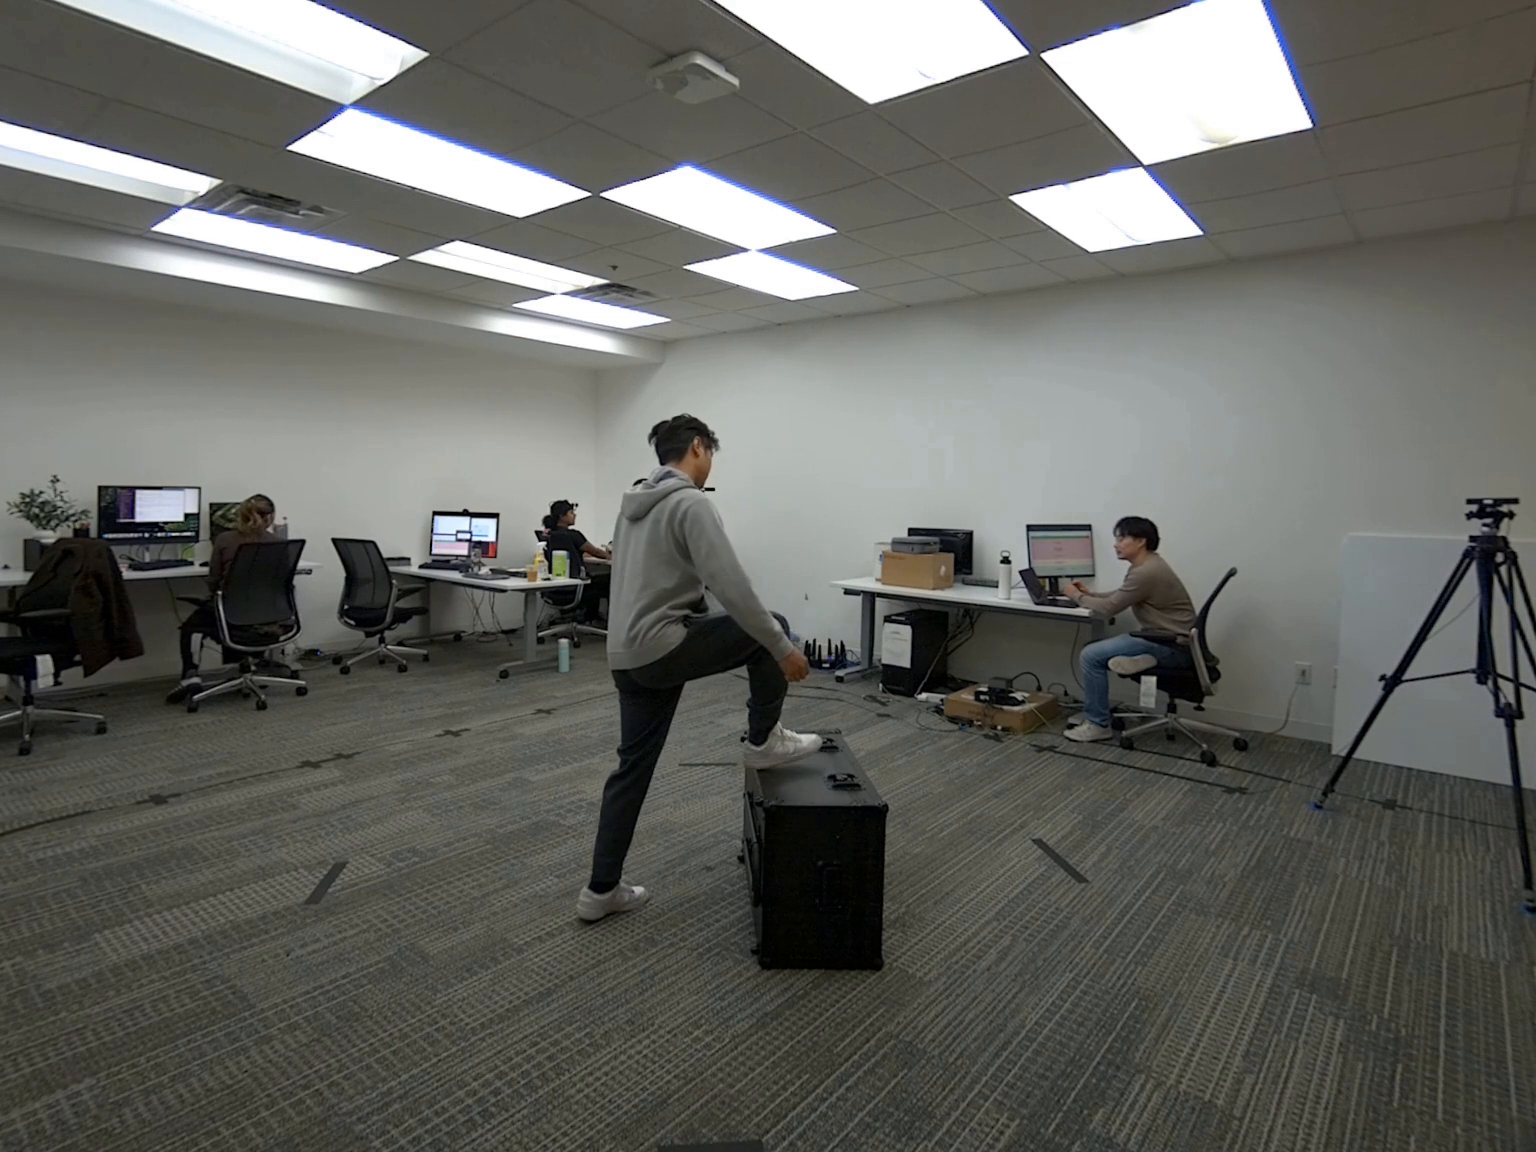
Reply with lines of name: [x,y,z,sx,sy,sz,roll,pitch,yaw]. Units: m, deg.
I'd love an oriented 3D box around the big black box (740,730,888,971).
big black box: [0.102,0.855,2.870,0.395,0.519,0.868,1,5,-5]
